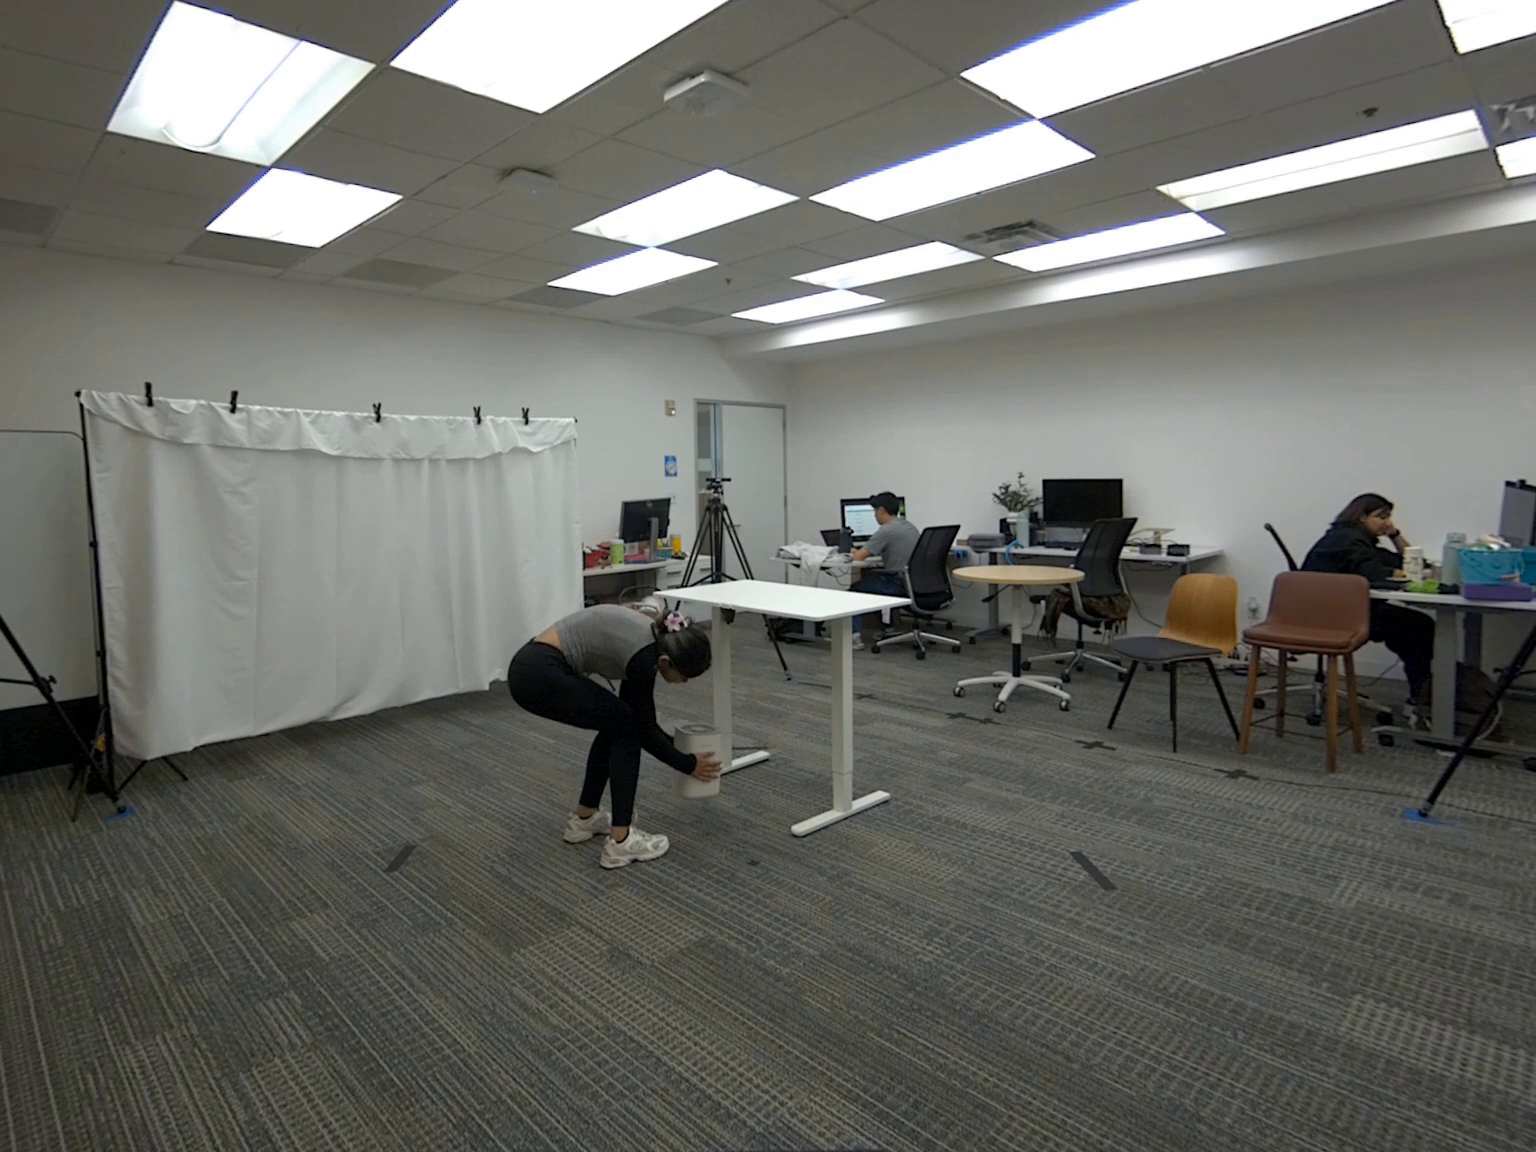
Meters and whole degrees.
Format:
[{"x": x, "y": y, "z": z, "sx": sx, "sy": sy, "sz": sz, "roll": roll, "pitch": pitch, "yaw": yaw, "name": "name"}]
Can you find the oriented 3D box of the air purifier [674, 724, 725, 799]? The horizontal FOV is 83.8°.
[{"x": -0.283, "y": 0.734, "z": 3.400, "sx": 0.167, "sy": 0.265, "sz": 0.176, "roll": 2, "pitch": 3, "yaw": -29, "name": "air purifier"}]
